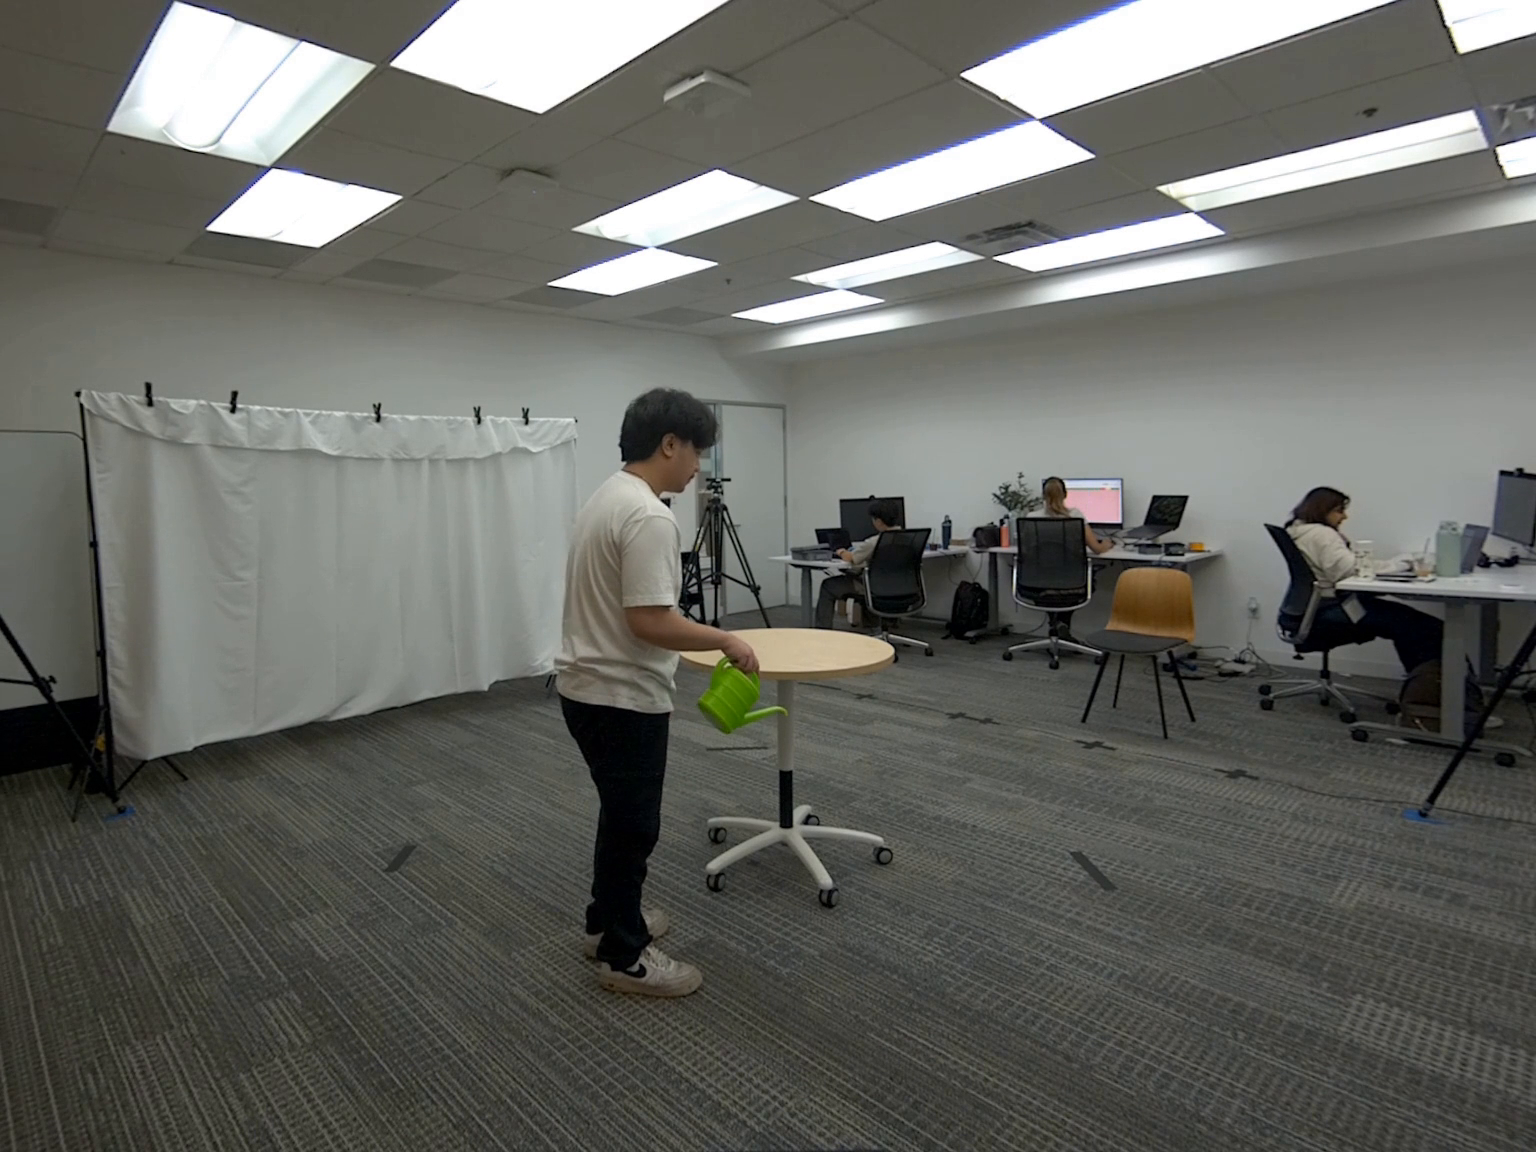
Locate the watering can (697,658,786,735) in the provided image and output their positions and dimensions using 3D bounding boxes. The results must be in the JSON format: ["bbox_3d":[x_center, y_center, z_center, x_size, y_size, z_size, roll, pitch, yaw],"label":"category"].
[{"bbox_3d":[-0.069,0.340,2.288,0.177,0.274,0.099,-50,13,-24],"label":"watering can"}]
